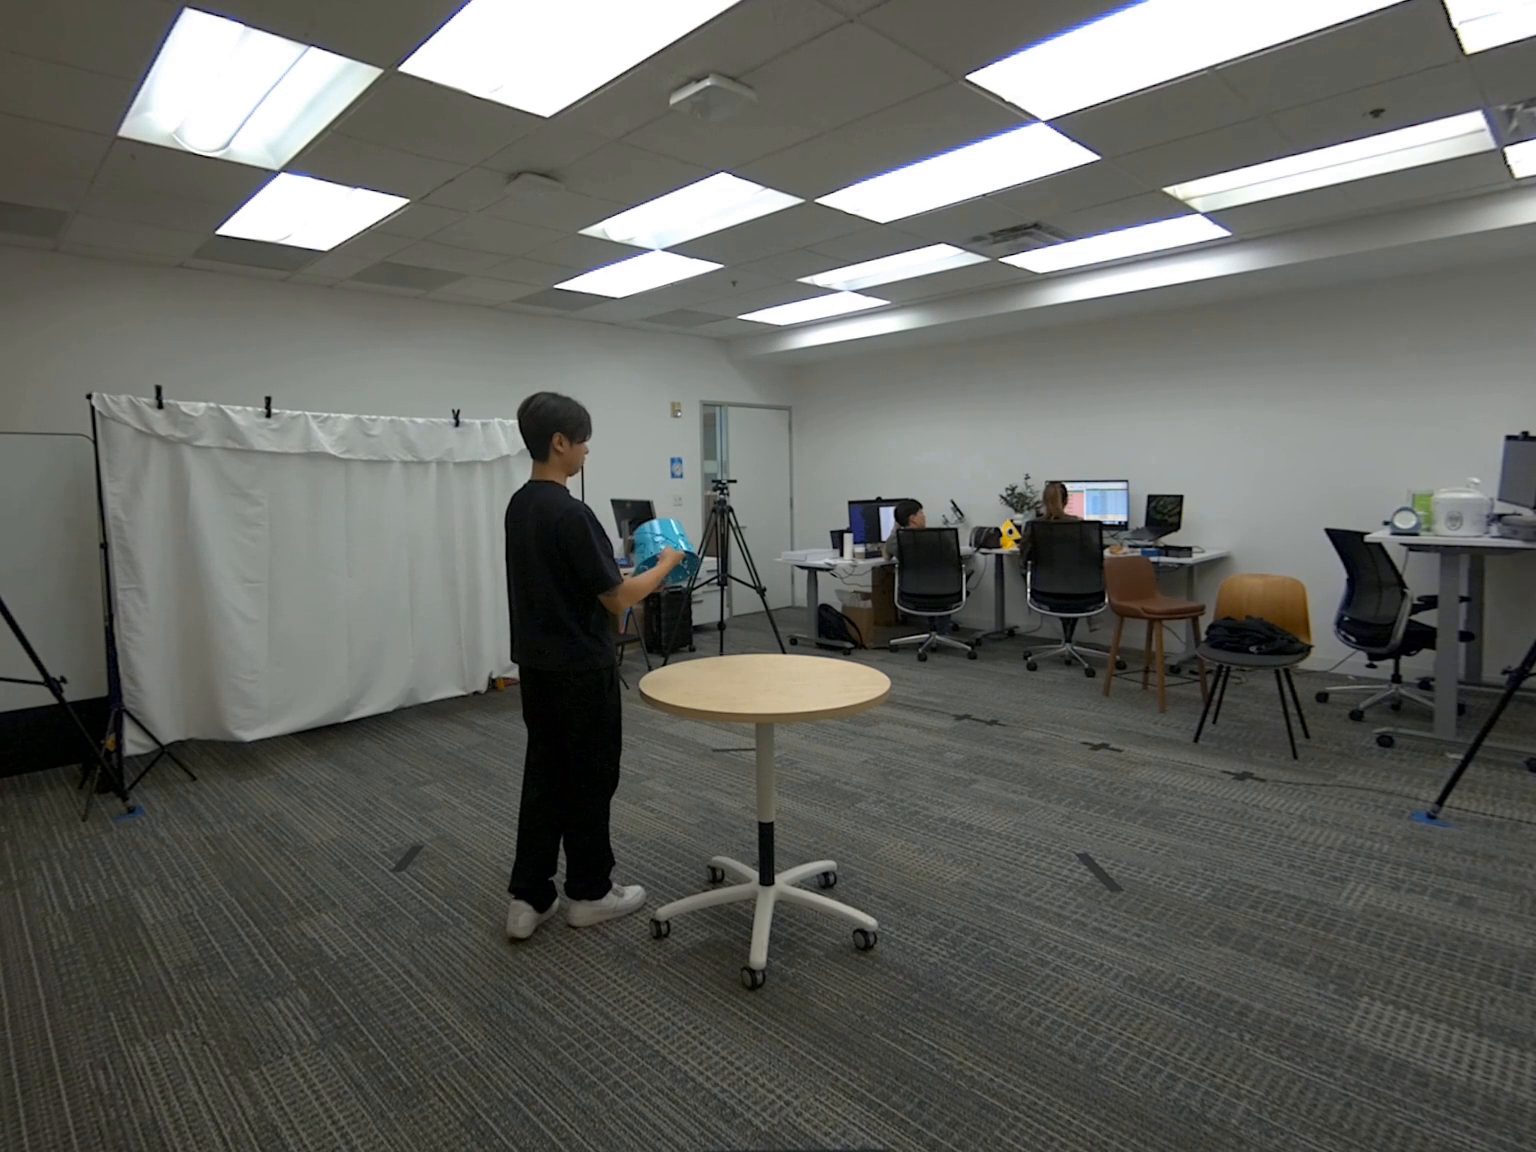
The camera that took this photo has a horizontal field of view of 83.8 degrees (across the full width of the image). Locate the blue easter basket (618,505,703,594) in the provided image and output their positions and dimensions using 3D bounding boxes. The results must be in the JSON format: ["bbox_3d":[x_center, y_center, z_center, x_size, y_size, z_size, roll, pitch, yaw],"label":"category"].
[{"bbox_3d":[-0.369,-0.085,2.943,0.242,0.161,0.238,-14,-31,-10],"label":"blue easter basket"}]
